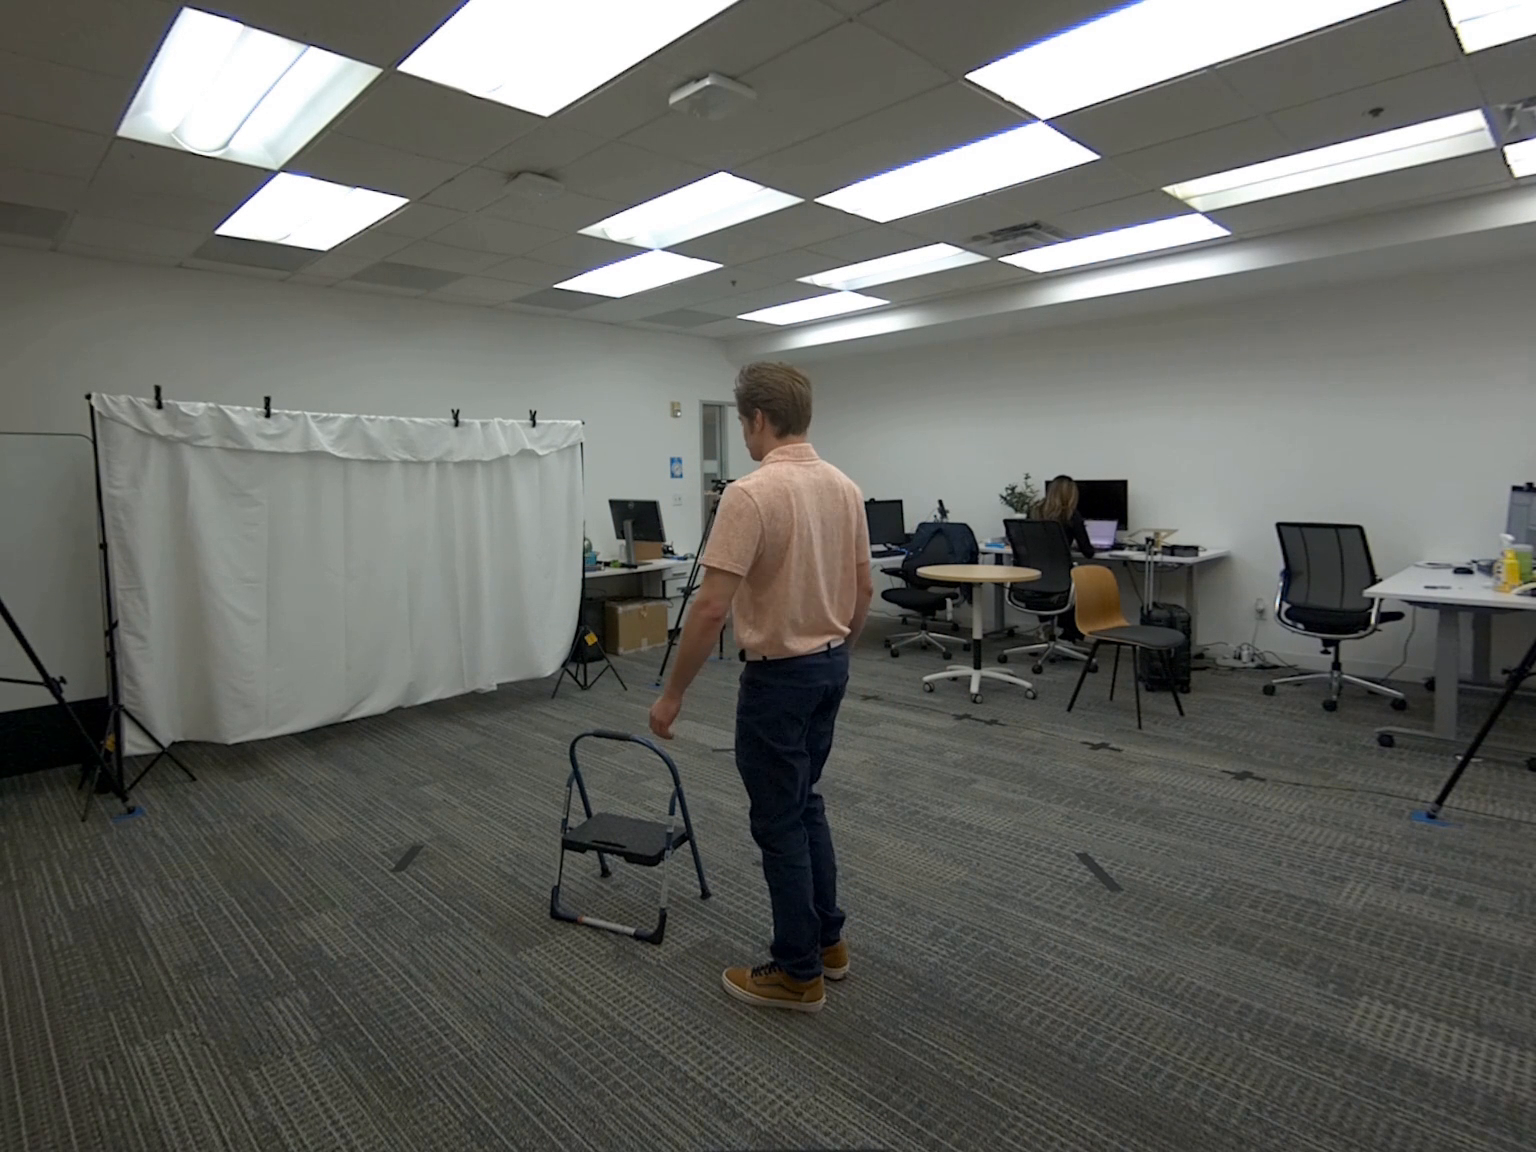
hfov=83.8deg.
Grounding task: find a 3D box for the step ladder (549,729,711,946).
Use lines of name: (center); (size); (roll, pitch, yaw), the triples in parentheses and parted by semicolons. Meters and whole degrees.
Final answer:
step ladder: (-0.456, 0.788, 2.797); (0.440, 0.604, 0.343); (0, 4, 24)
